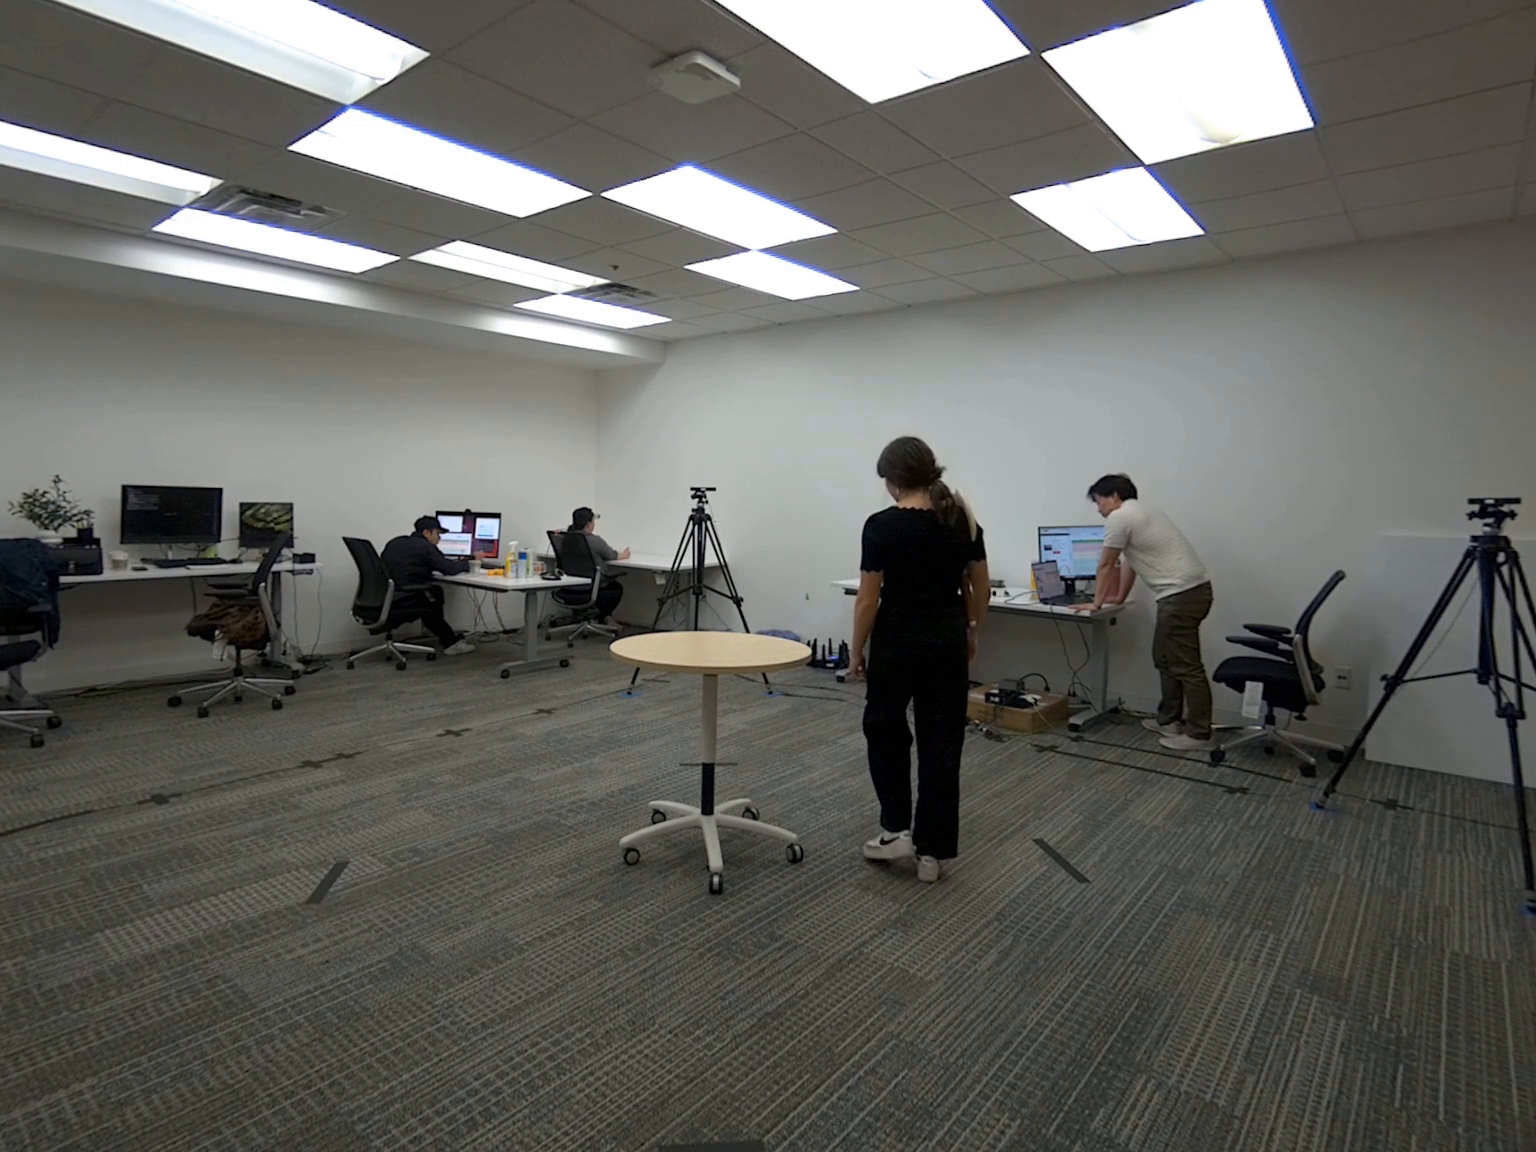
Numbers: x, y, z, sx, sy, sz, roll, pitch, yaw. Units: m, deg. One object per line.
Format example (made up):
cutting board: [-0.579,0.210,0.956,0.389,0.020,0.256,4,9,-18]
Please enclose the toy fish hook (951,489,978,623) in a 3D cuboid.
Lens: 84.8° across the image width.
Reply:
toy fish hook: [0.696,-0.059,3.067,0.048,0.509,0.225,-9,-4,-11]
